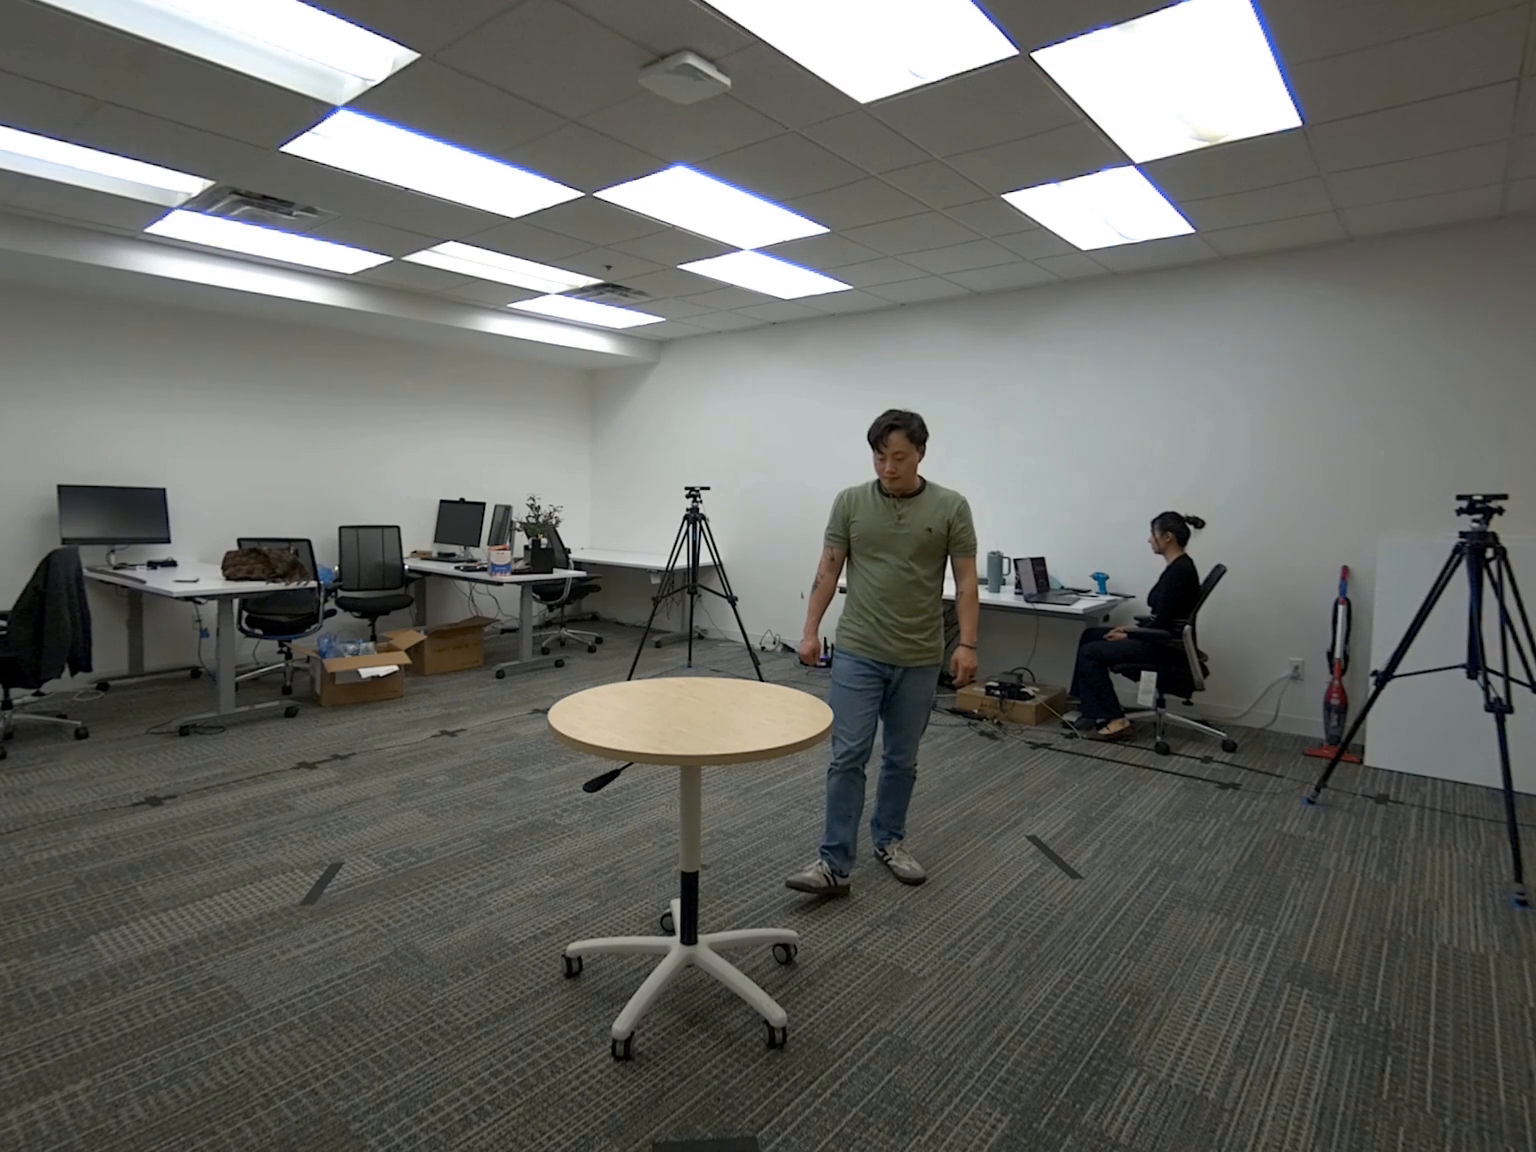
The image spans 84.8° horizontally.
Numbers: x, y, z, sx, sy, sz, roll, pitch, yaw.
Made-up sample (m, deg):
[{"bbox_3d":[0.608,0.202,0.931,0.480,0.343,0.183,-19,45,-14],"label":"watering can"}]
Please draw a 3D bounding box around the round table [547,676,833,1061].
[{"bbox_3d":[-0.219,0.753,2.330,0.763,0.791,0.768,0,5,-2],"label":"round table"}]
